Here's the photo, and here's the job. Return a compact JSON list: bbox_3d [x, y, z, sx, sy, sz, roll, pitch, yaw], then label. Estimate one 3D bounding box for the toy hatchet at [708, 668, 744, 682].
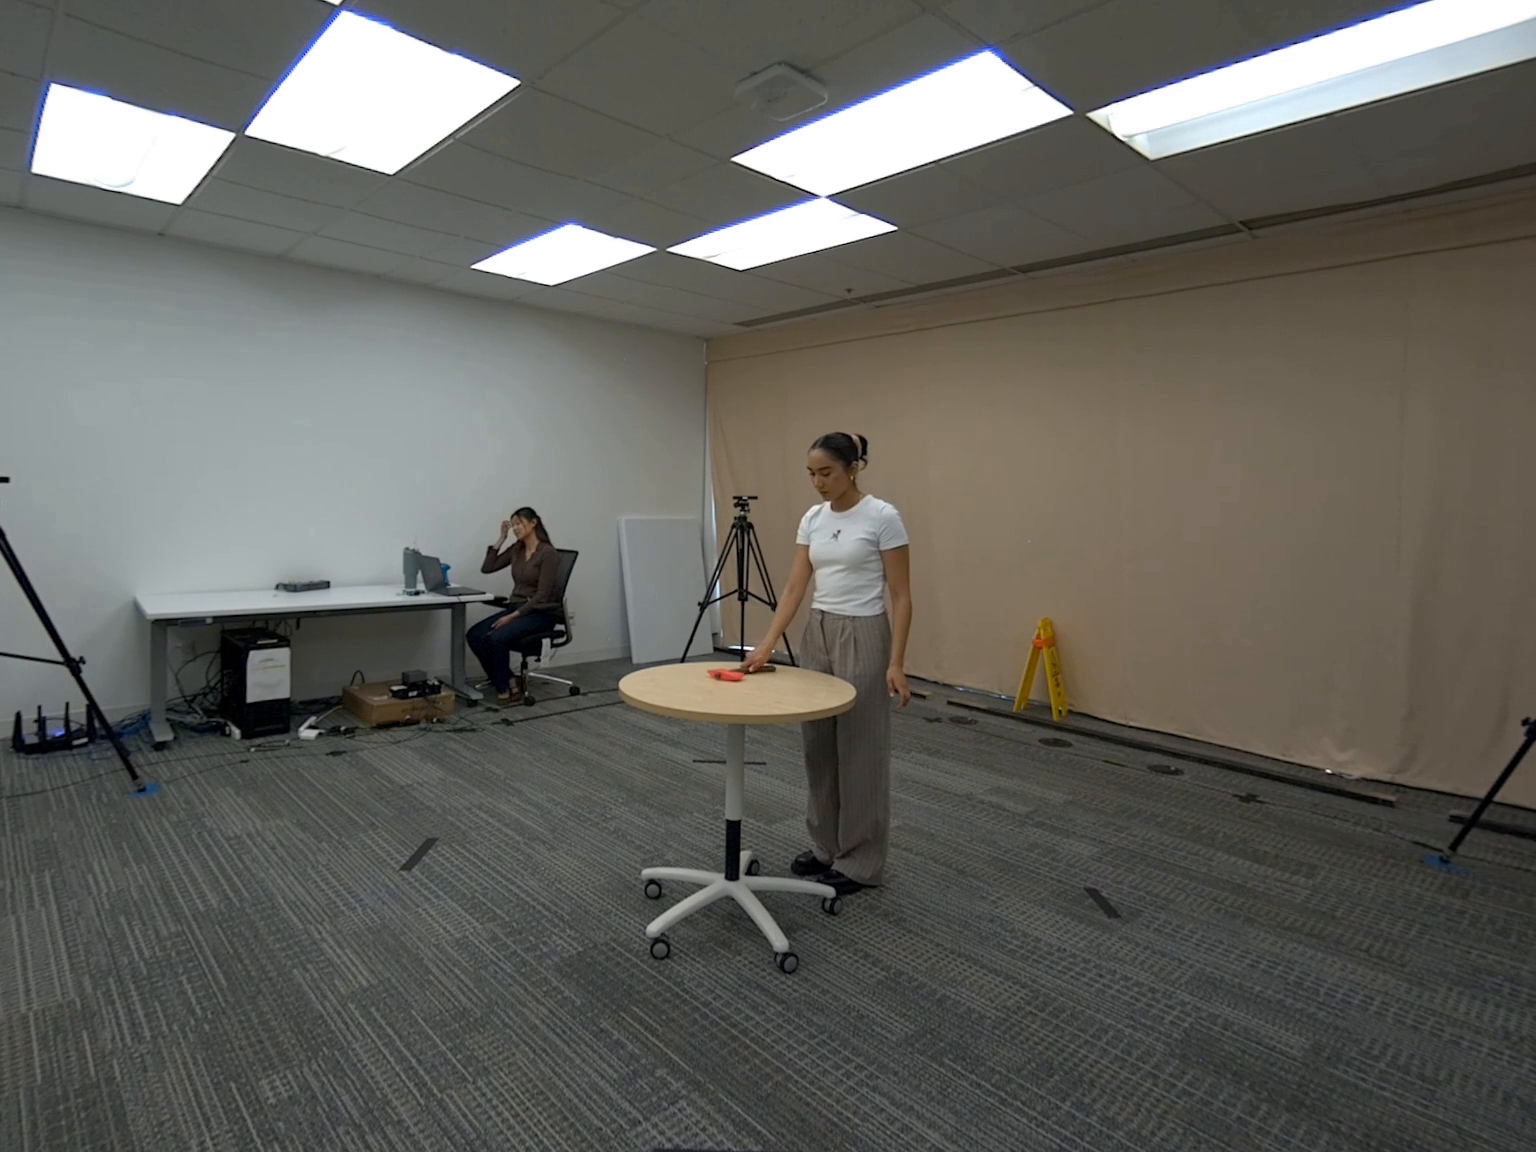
[{"bbox_3d":[-0.074,0.329,2.871,0.264,0.029,0.134,-1,5,-32],"label":"toy hatchet"}]
